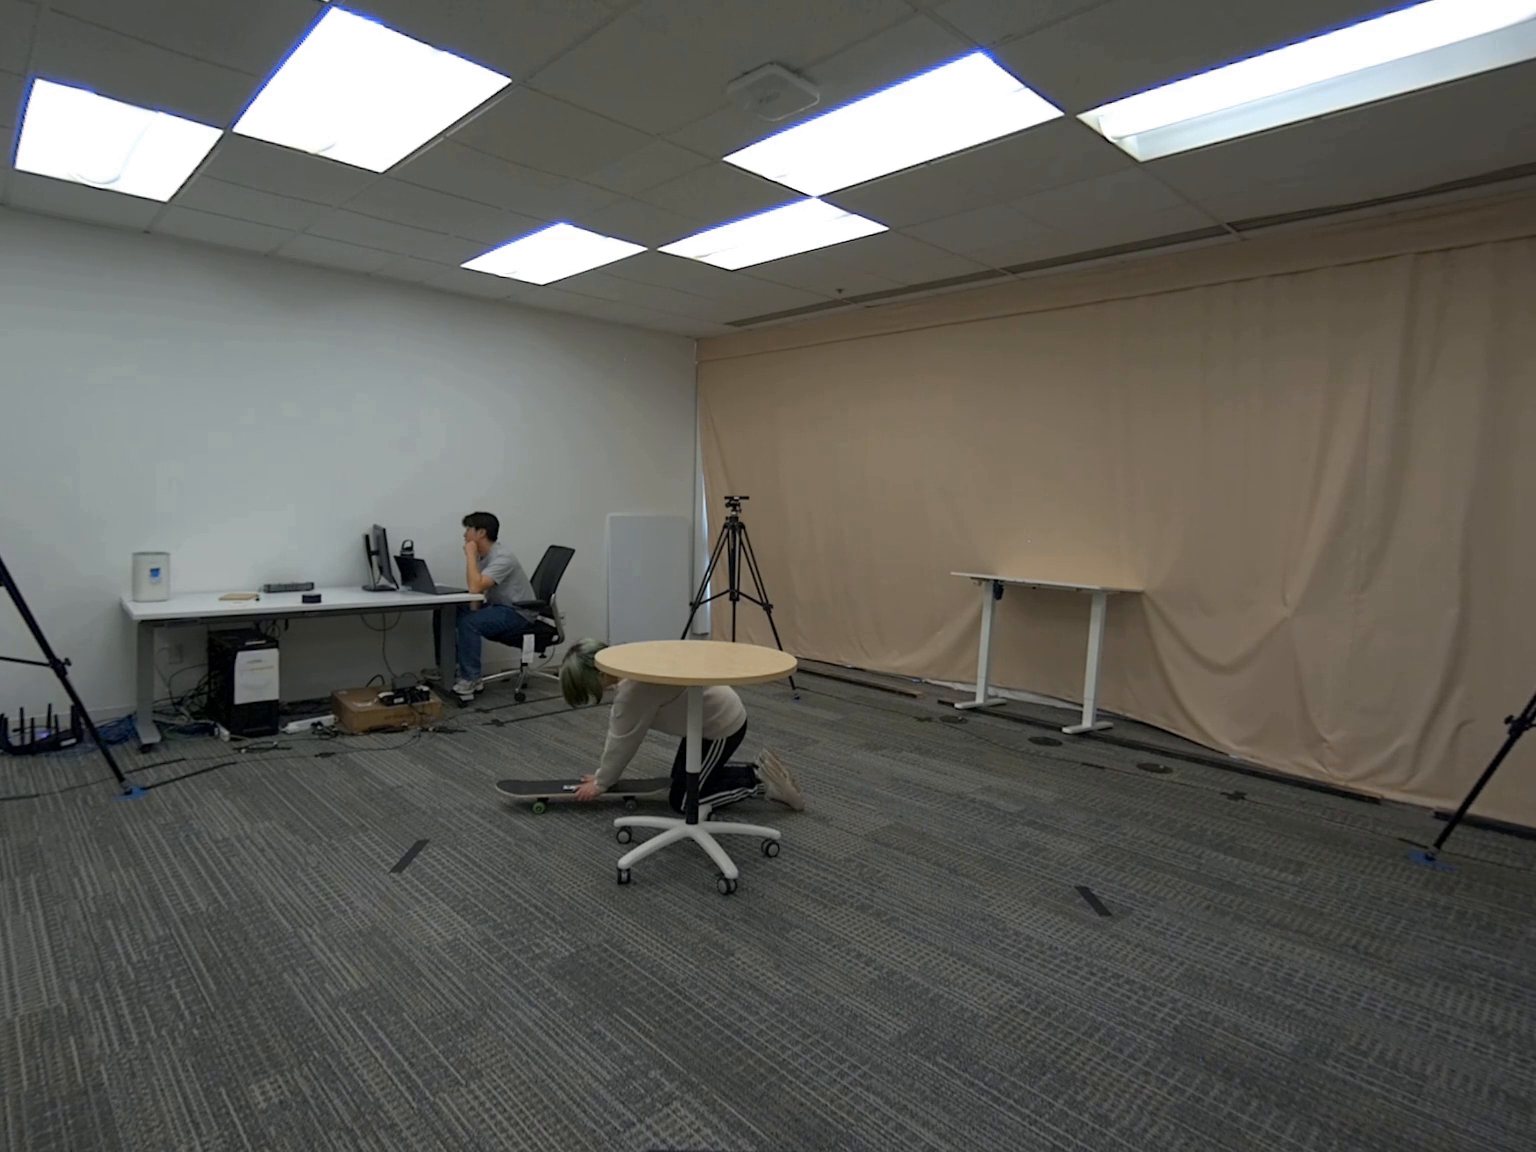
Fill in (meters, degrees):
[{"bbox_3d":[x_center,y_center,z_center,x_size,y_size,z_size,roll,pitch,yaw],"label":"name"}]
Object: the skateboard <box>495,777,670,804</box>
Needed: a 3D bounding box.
[{"bbox_3d":[-0.819,0.967,3.758,0.781,0.110,0.195,1,5,-7],"label":"skateboard"}]
